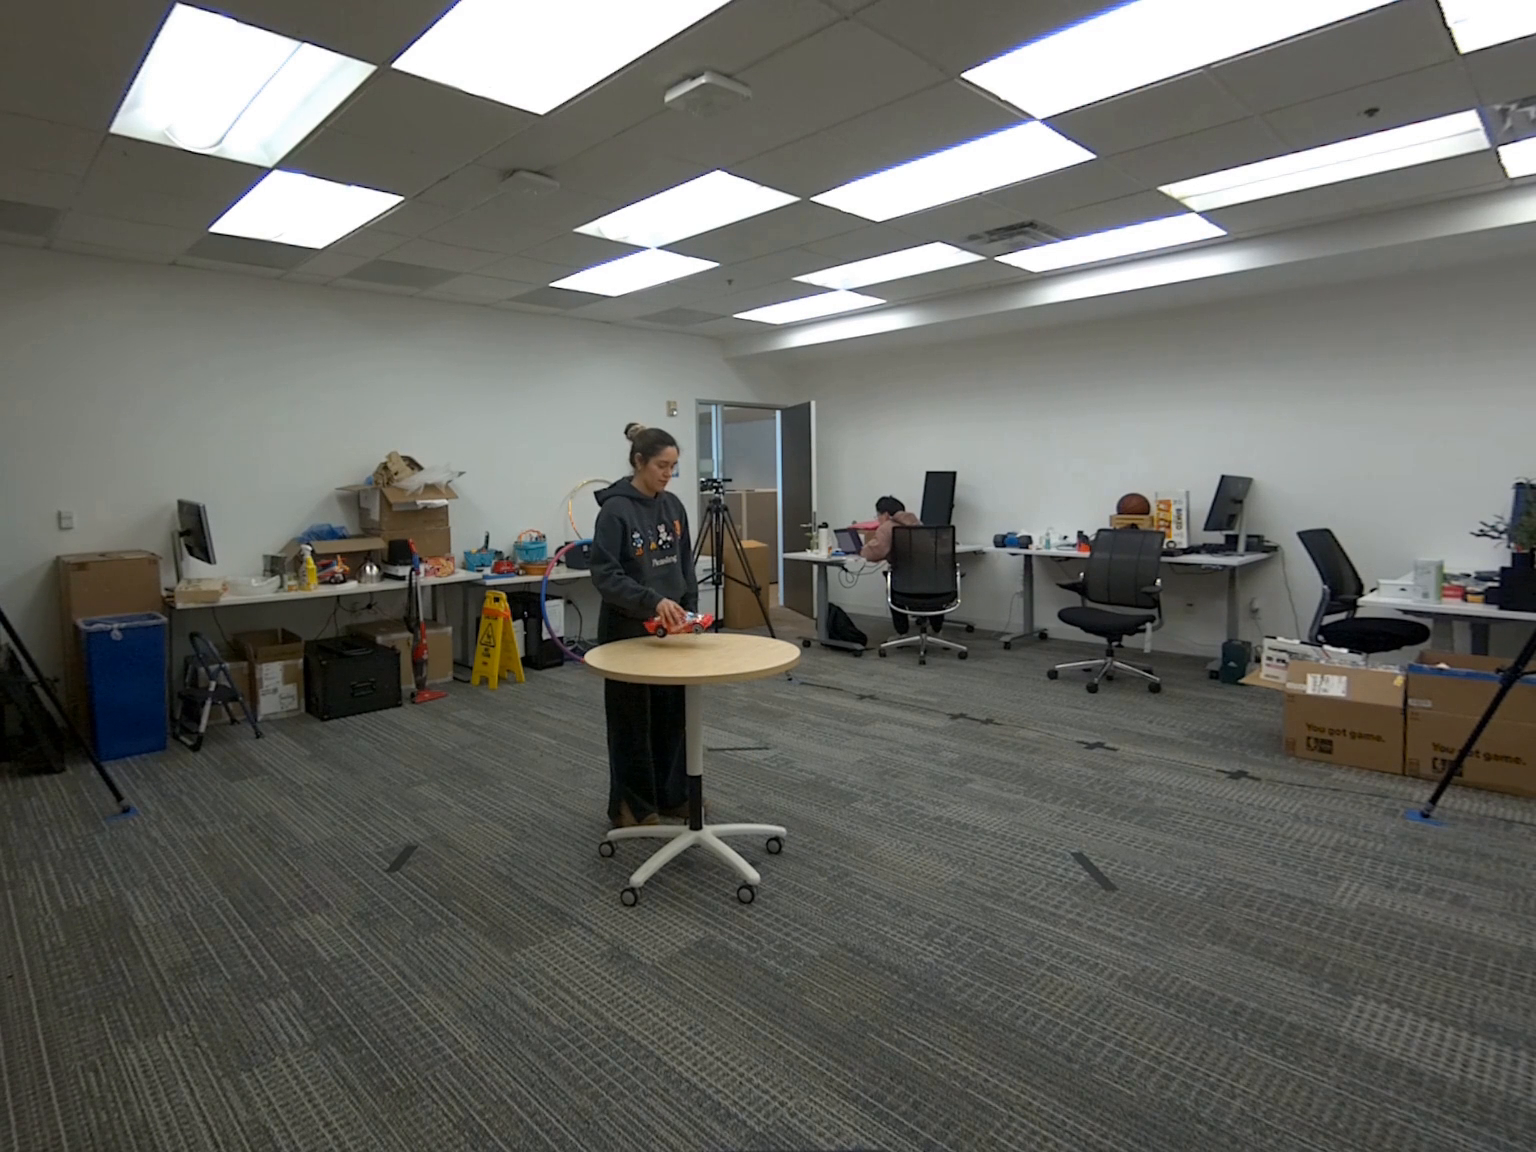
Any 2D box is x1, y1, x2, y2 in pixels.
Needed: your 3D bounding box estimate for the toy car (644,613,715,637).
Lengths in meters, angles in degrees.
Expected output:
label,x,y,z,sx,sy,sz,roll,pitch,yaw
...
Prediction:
label,x,y,z,sx,sy,sz,roll,pitch,yaw
toy car,-0.326,0.188,3.142,0.259,0.082,0.130,4,14,16
